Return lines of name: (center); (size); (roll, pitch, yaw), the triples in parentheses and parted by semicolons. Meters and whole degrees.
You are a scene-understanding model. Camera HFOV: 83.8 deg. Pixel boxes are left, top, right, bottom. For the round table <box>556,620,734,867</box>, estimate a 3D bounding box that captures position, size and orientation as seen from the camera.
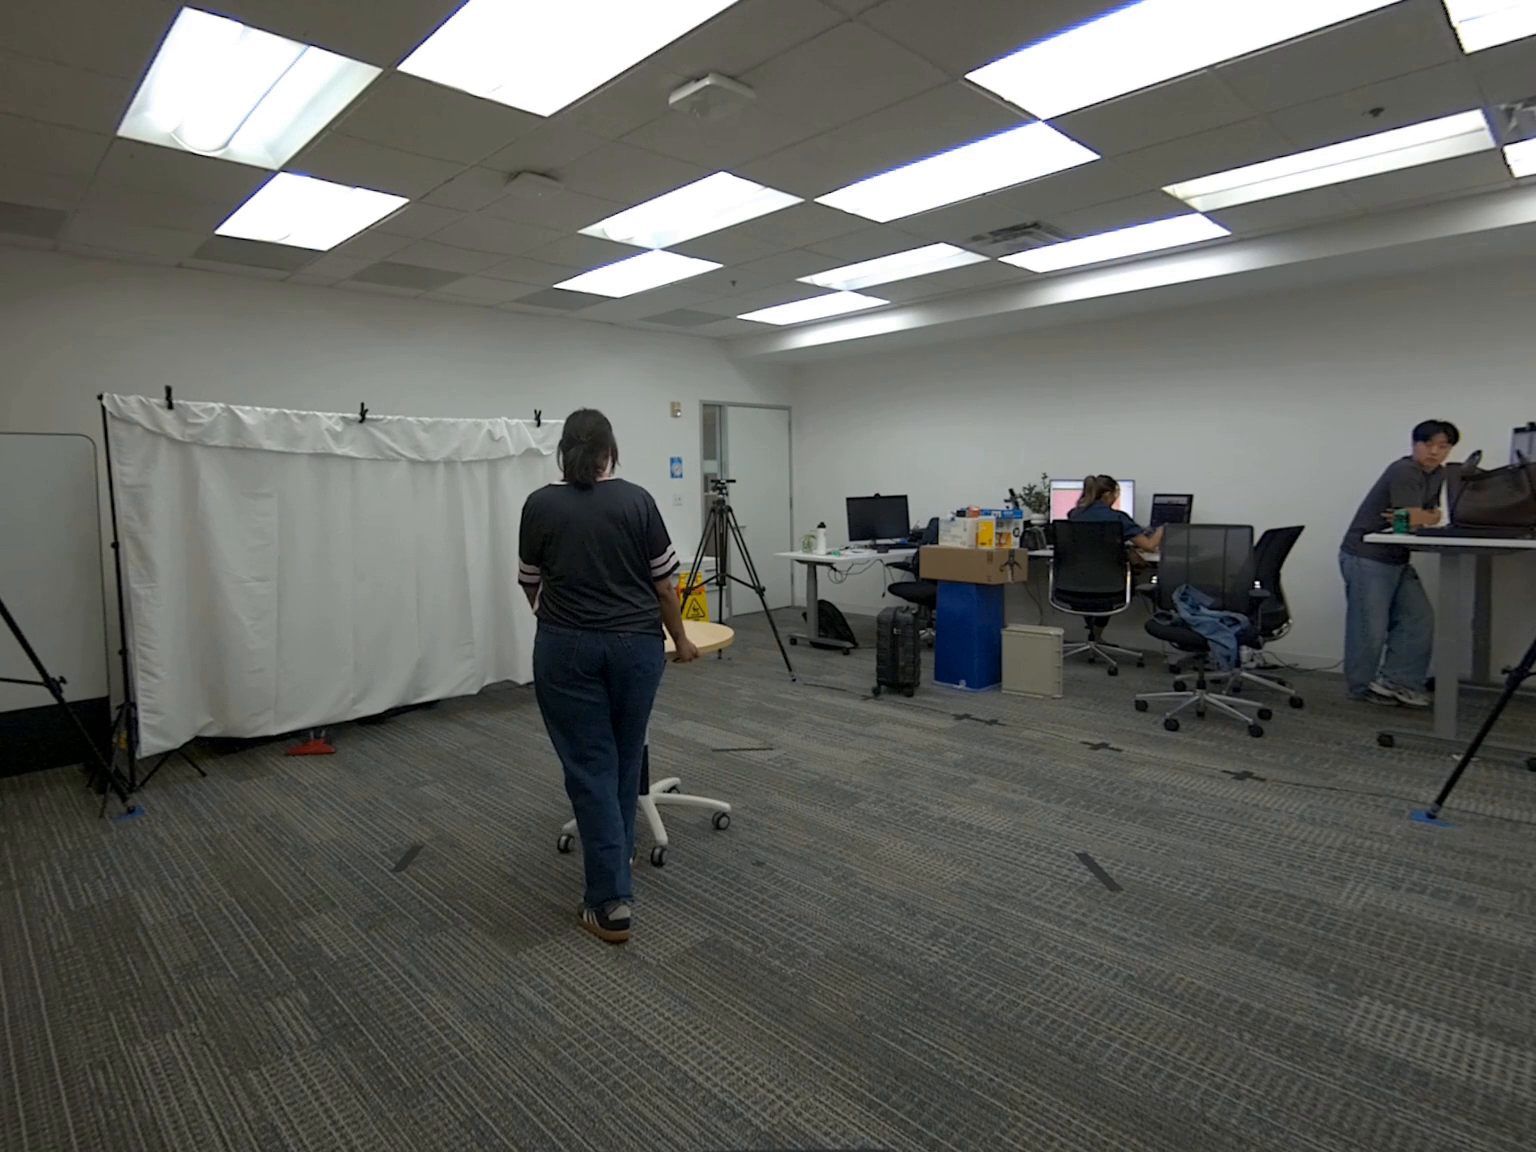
round table: (-0.502, 0.630, 3.438); (0.763, 0.791, 0.768); (-2, 5, -2)
